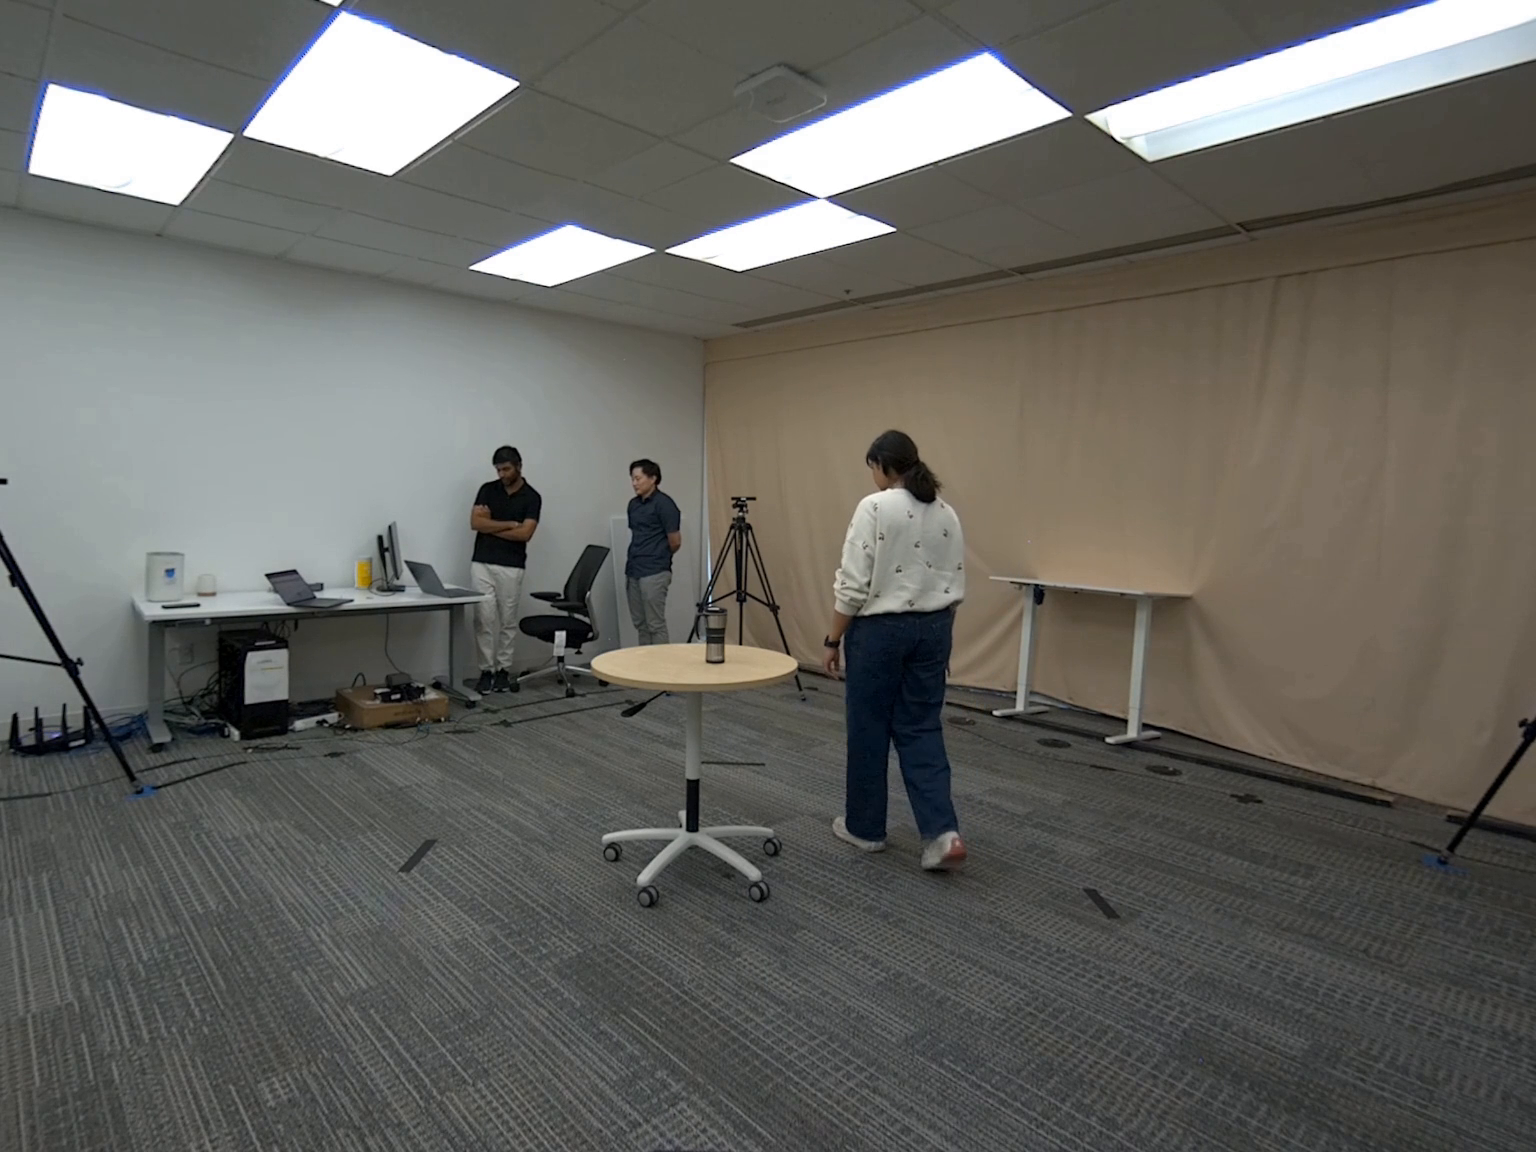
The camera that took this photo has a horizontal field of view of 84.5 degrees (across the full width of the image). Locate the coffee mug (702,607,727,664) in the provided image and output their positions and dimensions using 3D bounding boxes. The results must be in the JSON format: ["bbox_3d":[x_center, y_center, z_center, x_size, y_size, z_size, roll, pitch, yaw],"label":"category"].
[{"bbox_3d":[-0.218,0.220,3.132,0.125,0.202,0.086,7,10,40],"label":"coffee mug"}]
